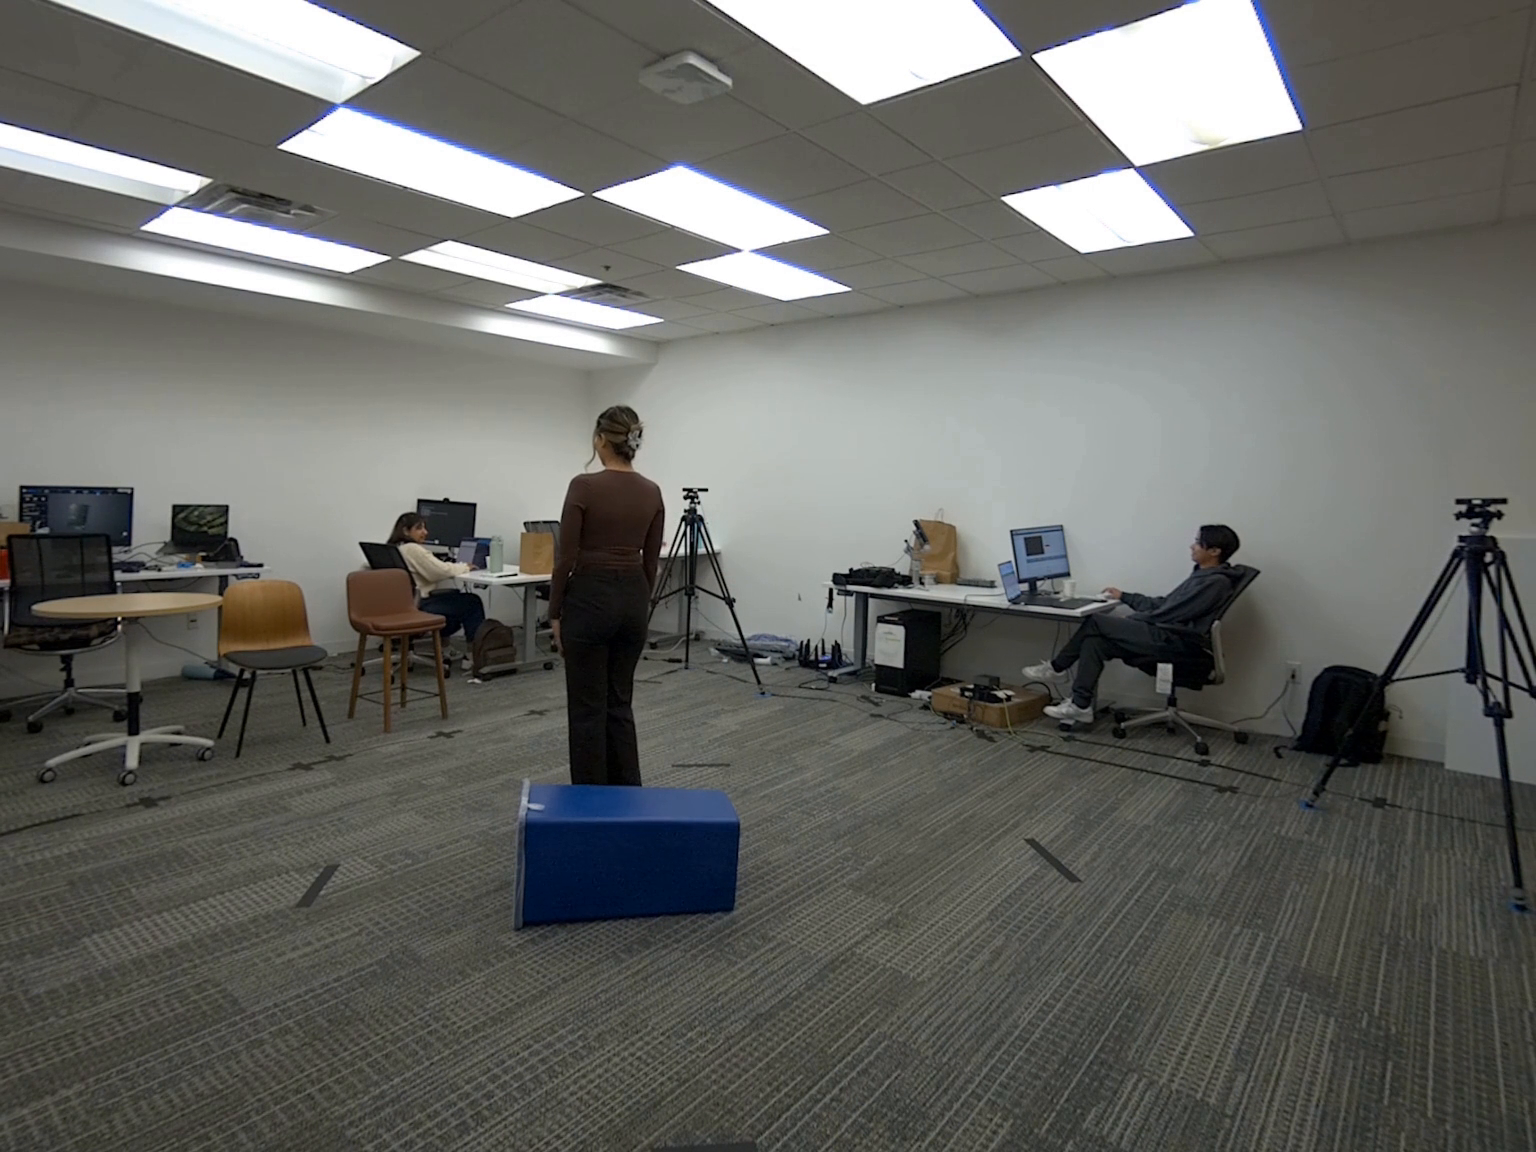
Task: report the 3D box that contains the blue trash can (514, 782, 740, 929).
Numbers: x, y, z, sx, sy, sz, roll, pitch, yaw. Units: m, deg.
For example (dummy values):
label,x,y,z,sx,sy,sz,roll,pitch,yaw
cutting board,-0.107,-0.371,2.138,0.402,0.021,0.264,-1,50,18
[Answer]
label,x,y,z,sx,sy,sz,roll,pitch,yaw
blue trash can,-0.489,0.925,2.877,0.704,0.377,0.380,2,3,-12
